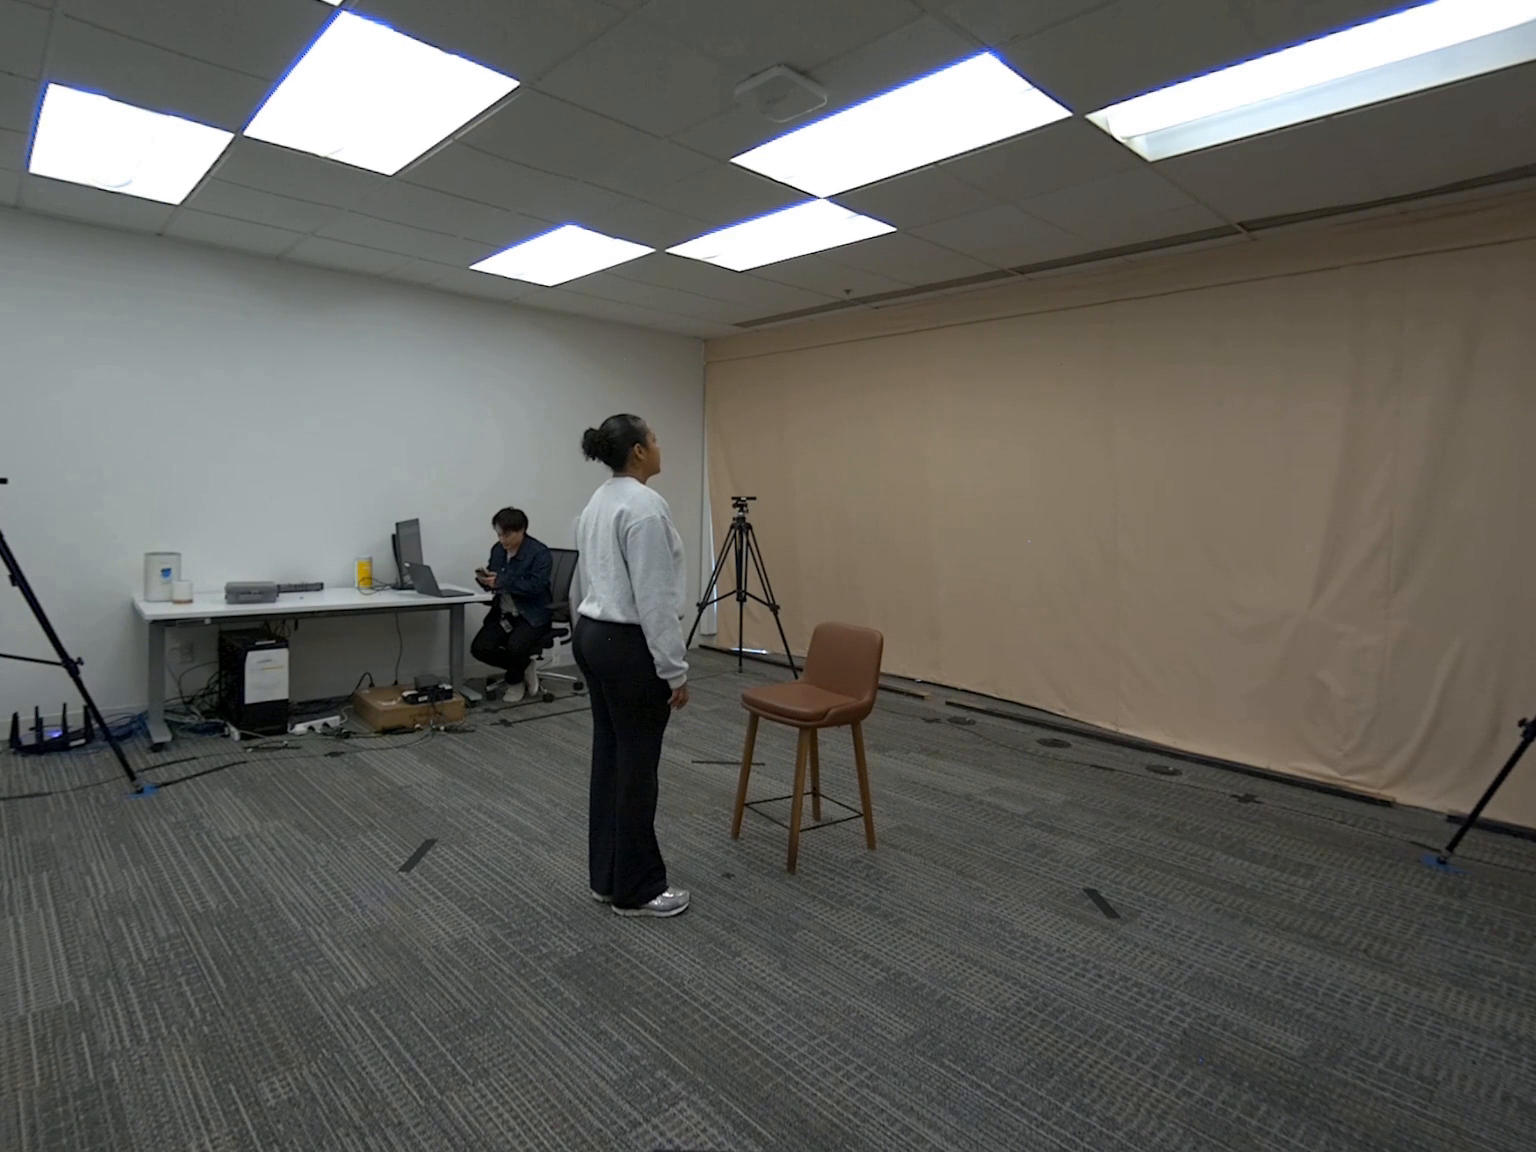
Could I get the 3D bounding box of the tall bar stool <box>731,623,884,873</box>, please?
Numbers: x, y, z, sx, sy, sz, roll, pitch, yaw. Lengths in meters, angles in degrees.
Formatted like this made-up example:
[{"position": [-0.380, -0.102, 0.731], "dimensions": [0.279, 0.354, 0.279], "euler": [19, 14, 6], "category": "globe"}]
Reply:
[{"position": [0.156, 0.652, 3.397], "dimensions": [0.457, 0.889, 0.467], "euler": [2, 2, -35], "category": "tall bar stool"}]
